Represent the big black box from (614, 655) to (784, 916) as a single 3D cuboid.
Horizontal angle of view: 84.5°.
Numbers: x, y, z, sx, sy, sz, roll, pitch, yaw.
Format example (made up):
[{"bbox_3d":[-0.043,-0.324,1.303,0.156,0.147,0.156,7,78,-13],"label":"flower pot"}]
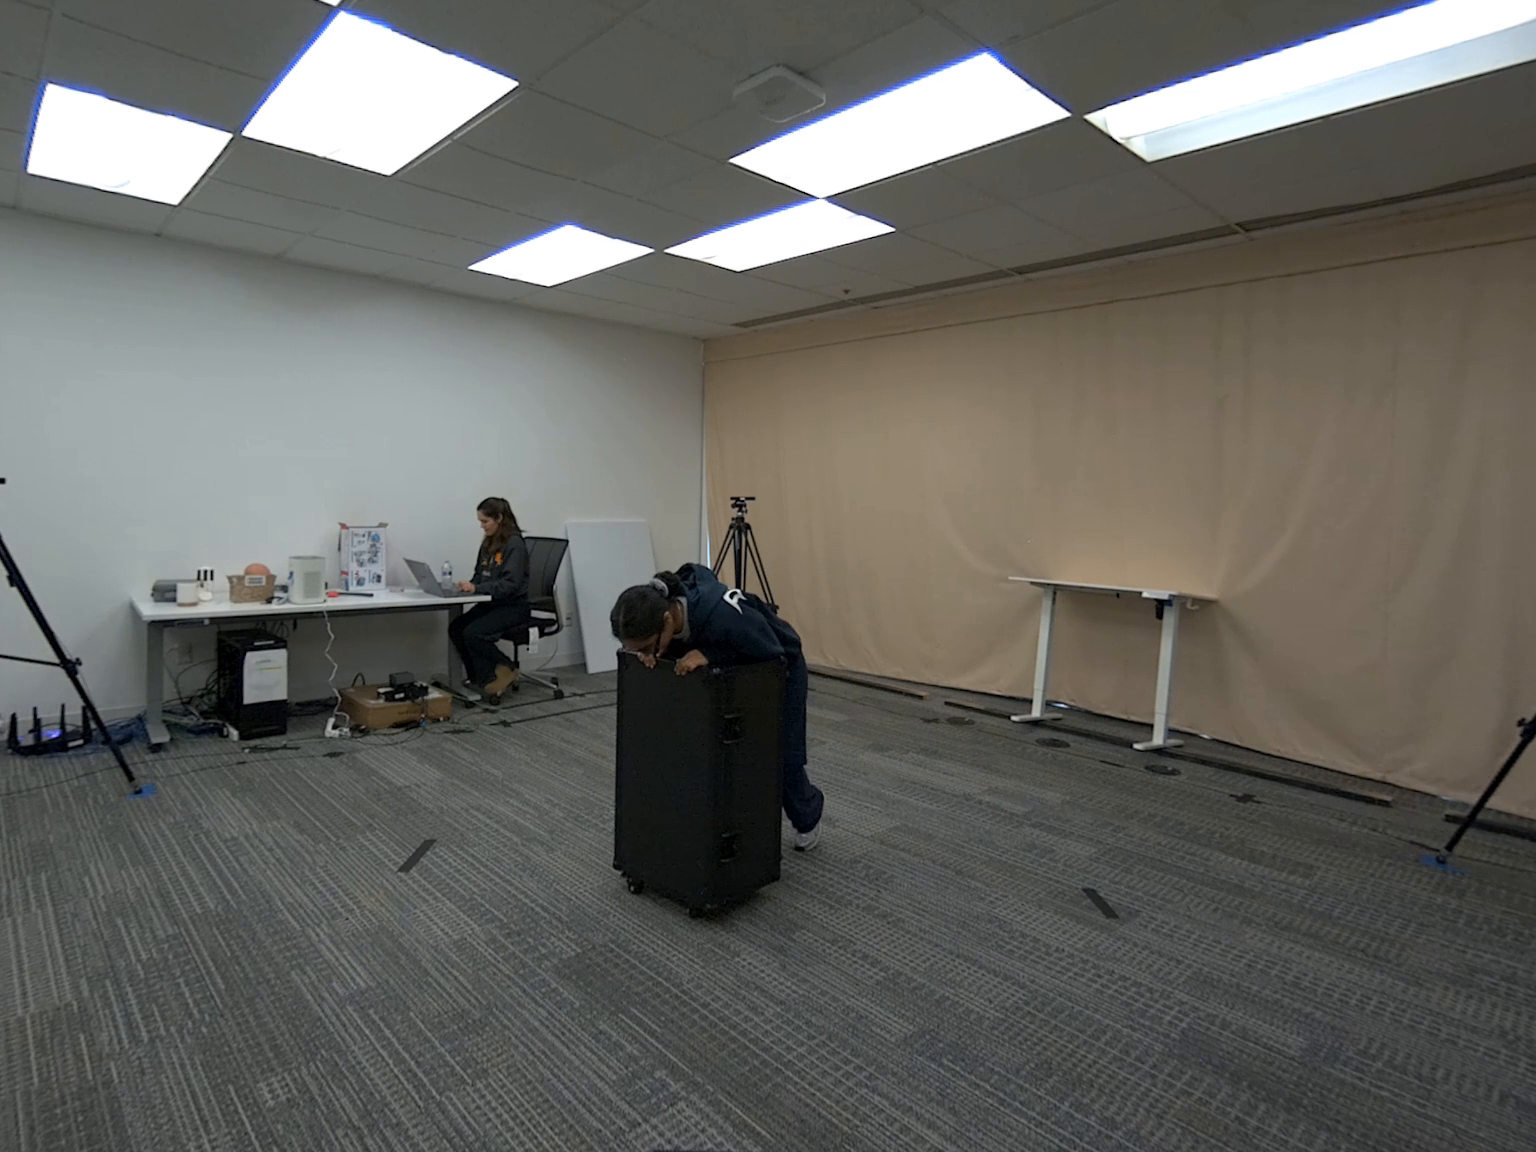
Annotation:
[{"bbox_3d":[-0.250,0.697,2.947,0.534,0.859,0.387,5,4,39],"label":"big black box"}]
